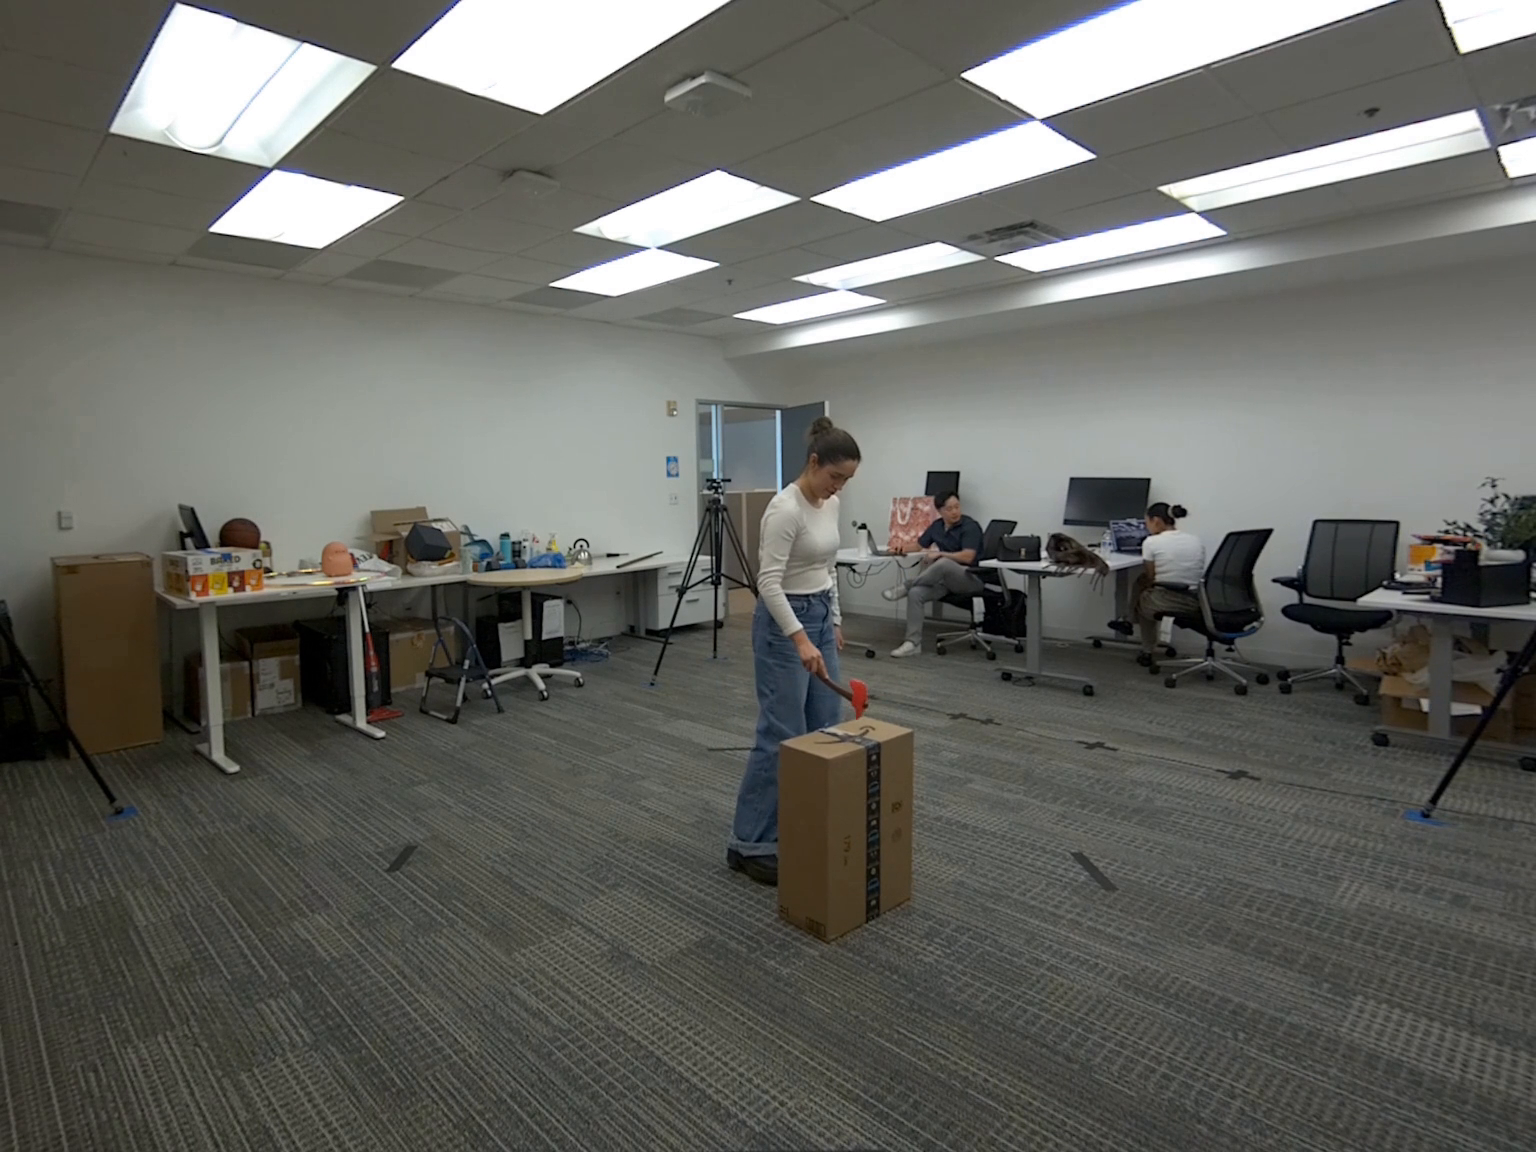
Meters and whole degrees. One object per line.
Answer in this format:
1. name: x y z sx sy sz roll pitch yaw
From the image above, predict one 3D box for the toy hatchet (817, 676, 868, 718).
1. toy hatchet: 0.233 0.350 2.795 0.029 0.129 0.280 -11 46 -40
